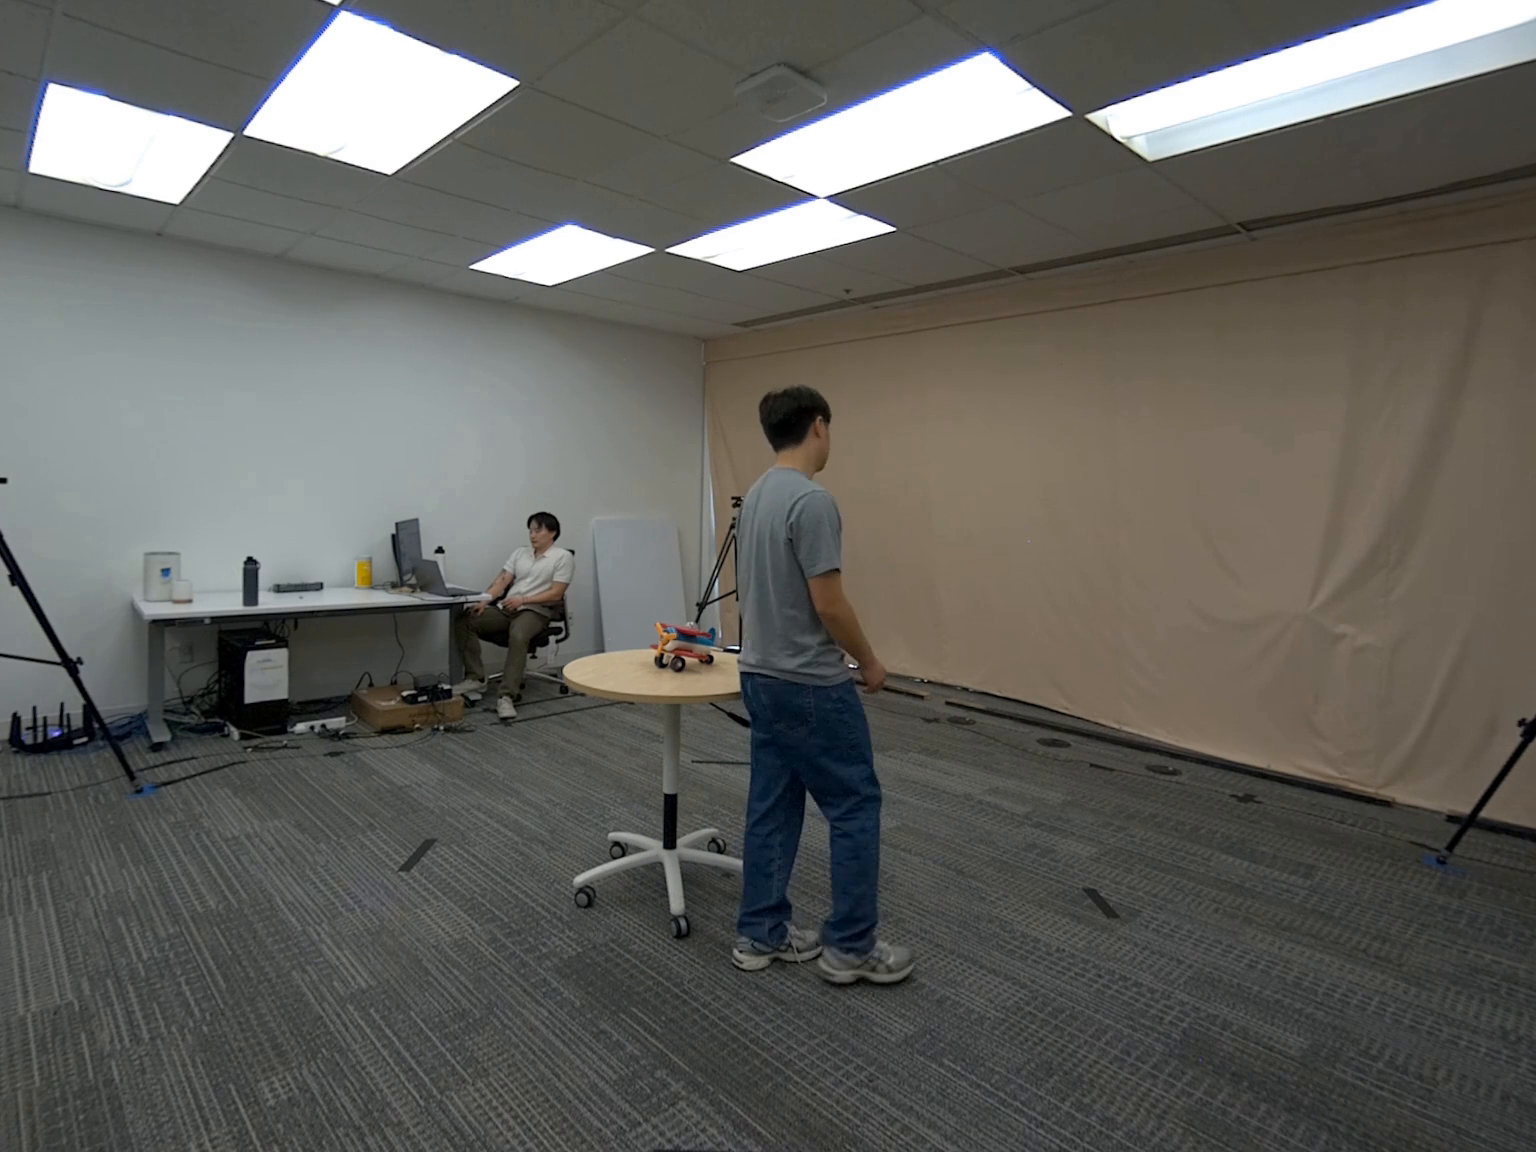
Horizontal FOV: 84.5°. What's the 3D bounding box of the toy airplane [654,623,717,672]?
[{"bbox_3d":[-0.306,0.248,3.023,0.254,0.156,0.257,4,7,15],"label":"toy airplane"}]
